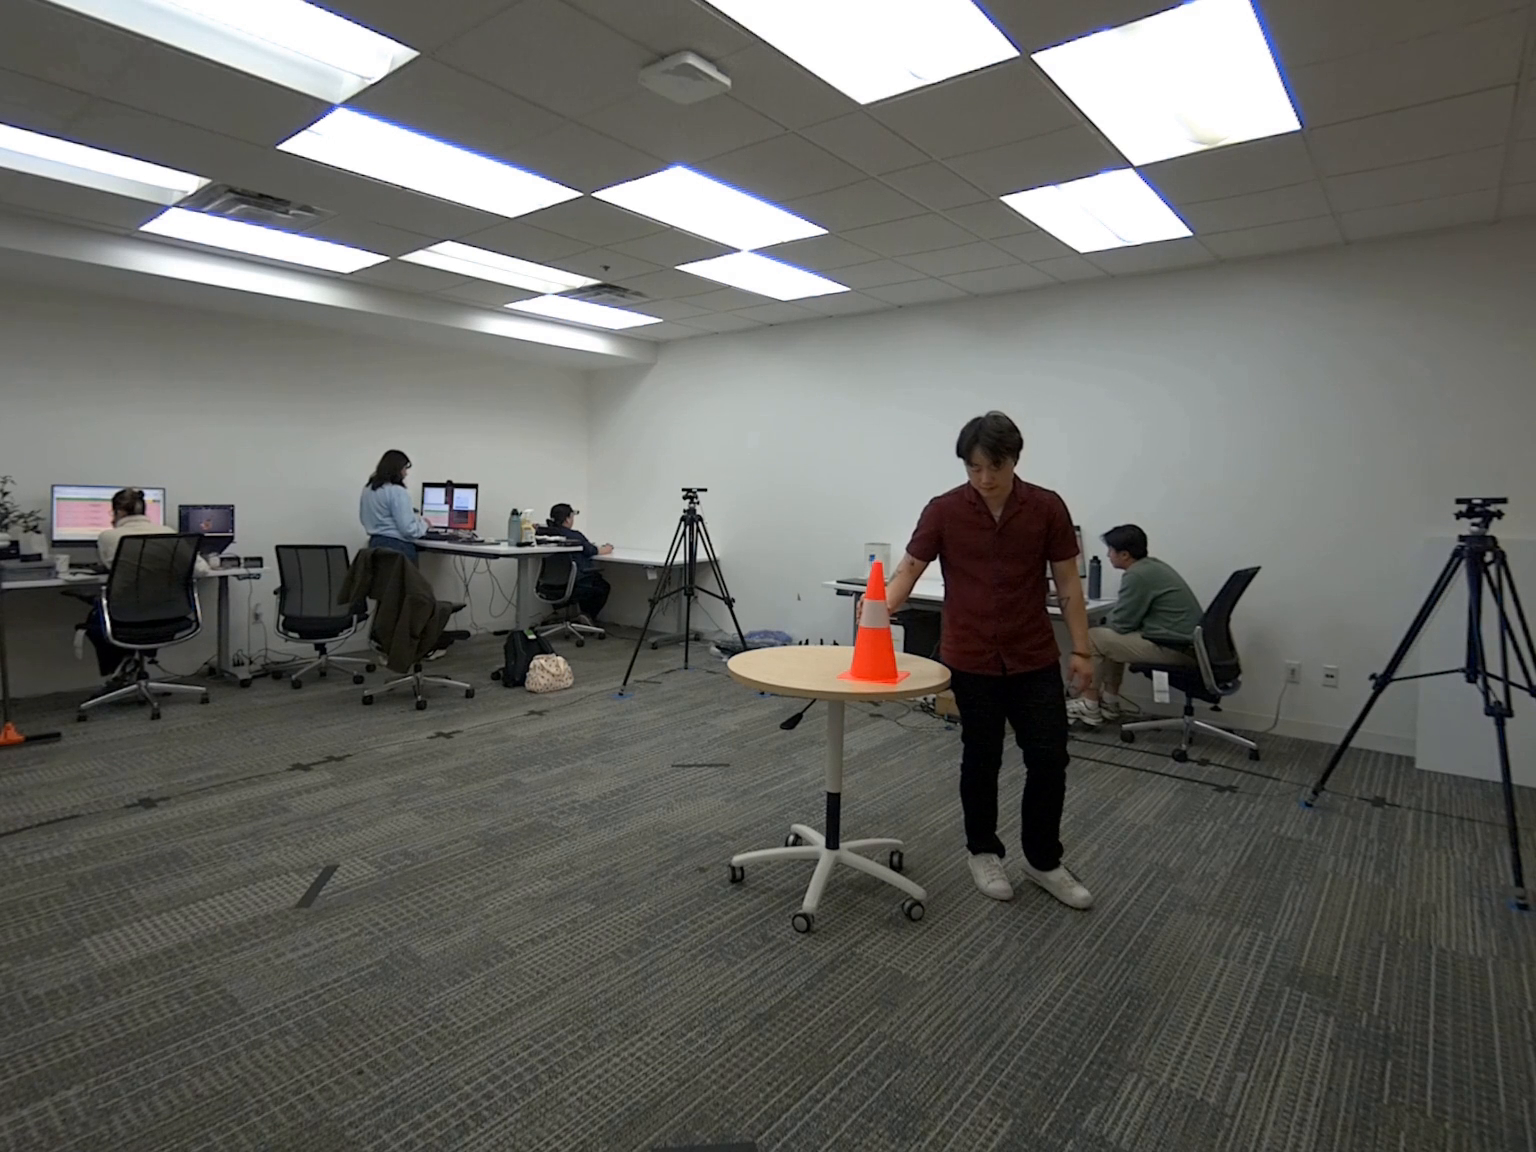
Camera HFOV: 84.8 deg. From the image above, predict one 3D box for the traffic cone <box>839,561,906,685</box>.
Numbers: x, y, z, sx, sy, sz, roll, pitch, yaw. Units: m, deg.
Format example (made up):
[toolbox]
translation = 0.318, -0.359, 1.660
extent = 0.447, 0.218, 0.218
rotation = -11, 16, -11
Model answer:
[traffic cone]
translation = 0.357, 0.142, 2.803
extent = 0.210, 0.382, 0.199
rotation = 3, 4, 24
